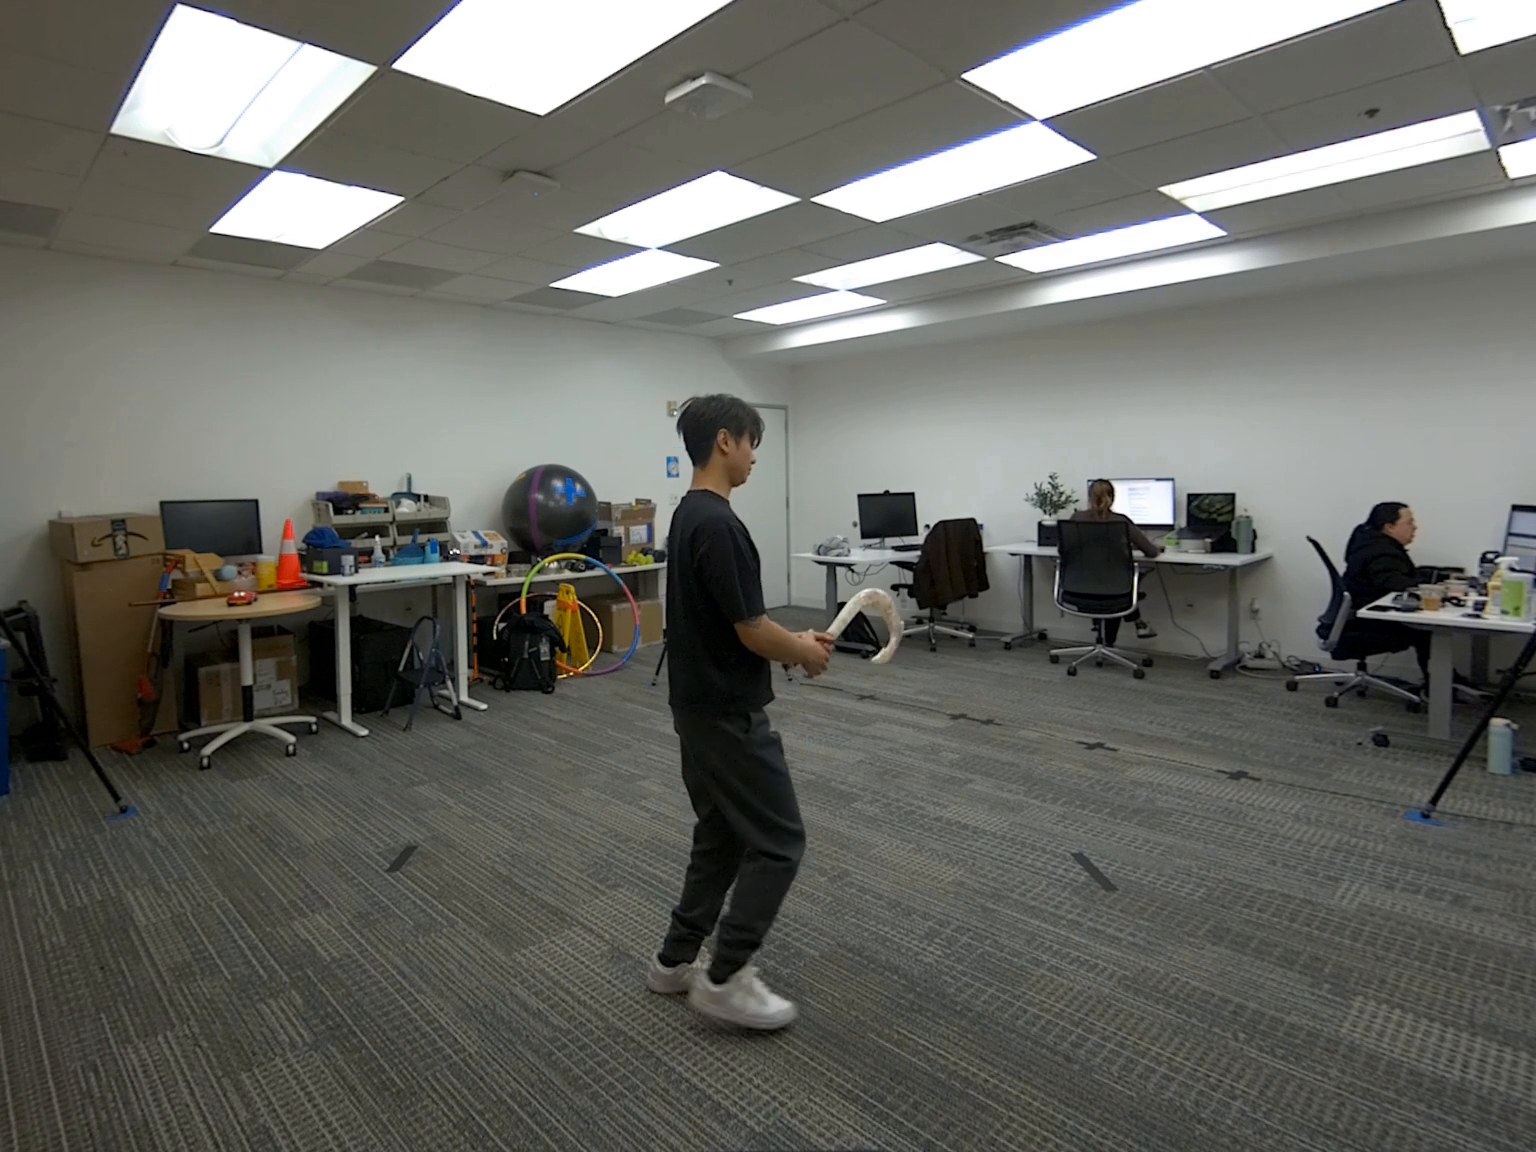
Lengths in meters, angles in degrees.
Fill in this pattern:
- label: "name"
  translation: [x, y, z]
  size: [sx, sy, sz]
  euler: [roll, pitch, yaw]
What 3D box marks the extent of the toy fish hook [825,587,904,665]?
- label: "toy fish hook"
  translation: [0.240, 0.224, 2.558]
  size: [0.500, 0.225, 0.049]
  euler: [-28, -2, -38]
